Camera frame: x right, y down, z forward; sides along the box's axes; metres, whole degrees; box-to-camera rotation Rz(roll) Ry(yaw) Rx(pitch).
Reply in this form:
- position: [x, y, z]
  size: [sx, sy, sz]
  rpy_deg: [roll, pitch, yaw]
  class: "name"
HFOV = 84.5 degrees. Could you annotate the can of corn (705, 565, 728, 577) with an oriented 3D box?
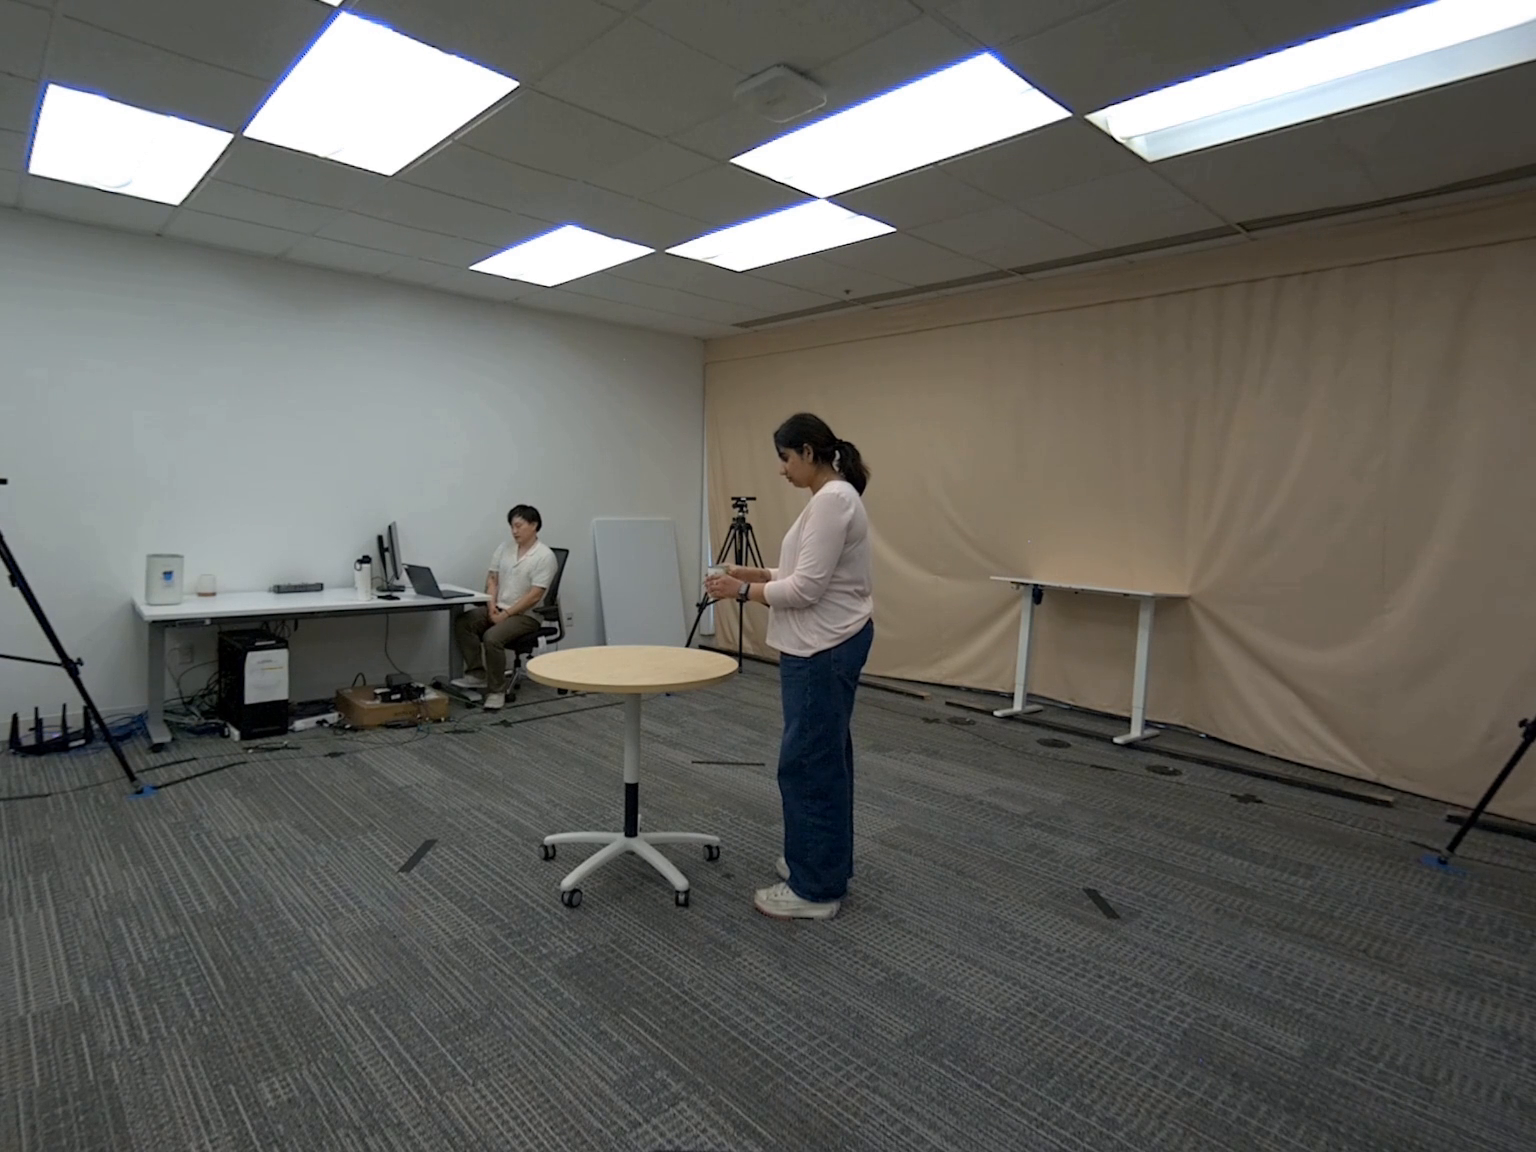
- position: [-0.175, 0.027, 2.932]
  size: [0.074, 0.111, 0.074]
  rpy_deg: [4, 2, -2]
  class: "can of corn"
